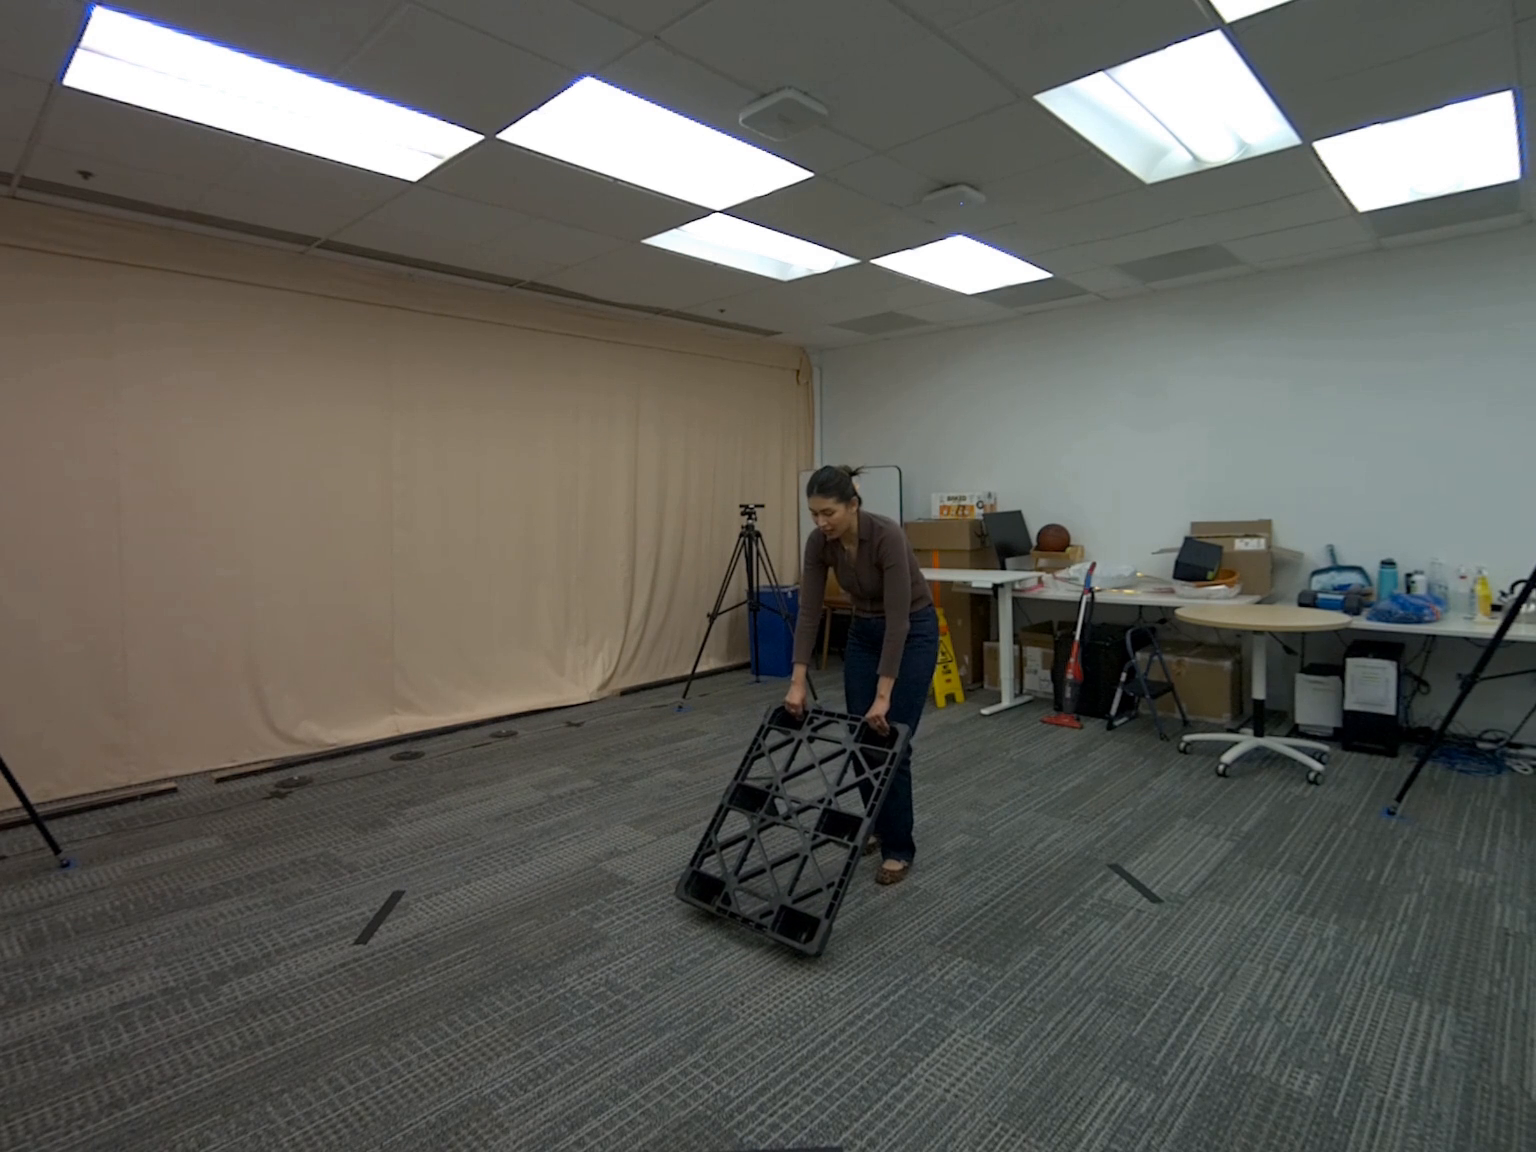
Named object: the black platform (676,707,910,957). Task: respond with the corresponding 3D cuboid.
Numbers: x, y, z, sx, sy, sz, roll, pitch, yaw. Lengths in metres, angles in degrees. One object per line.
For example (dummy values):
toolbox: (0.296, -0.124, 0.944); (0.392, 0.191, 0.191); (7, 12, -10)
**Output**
black platform: (0.115, 0.835, 2.889); (0.625, 0.805, 0.139); (4, -37, 40)
